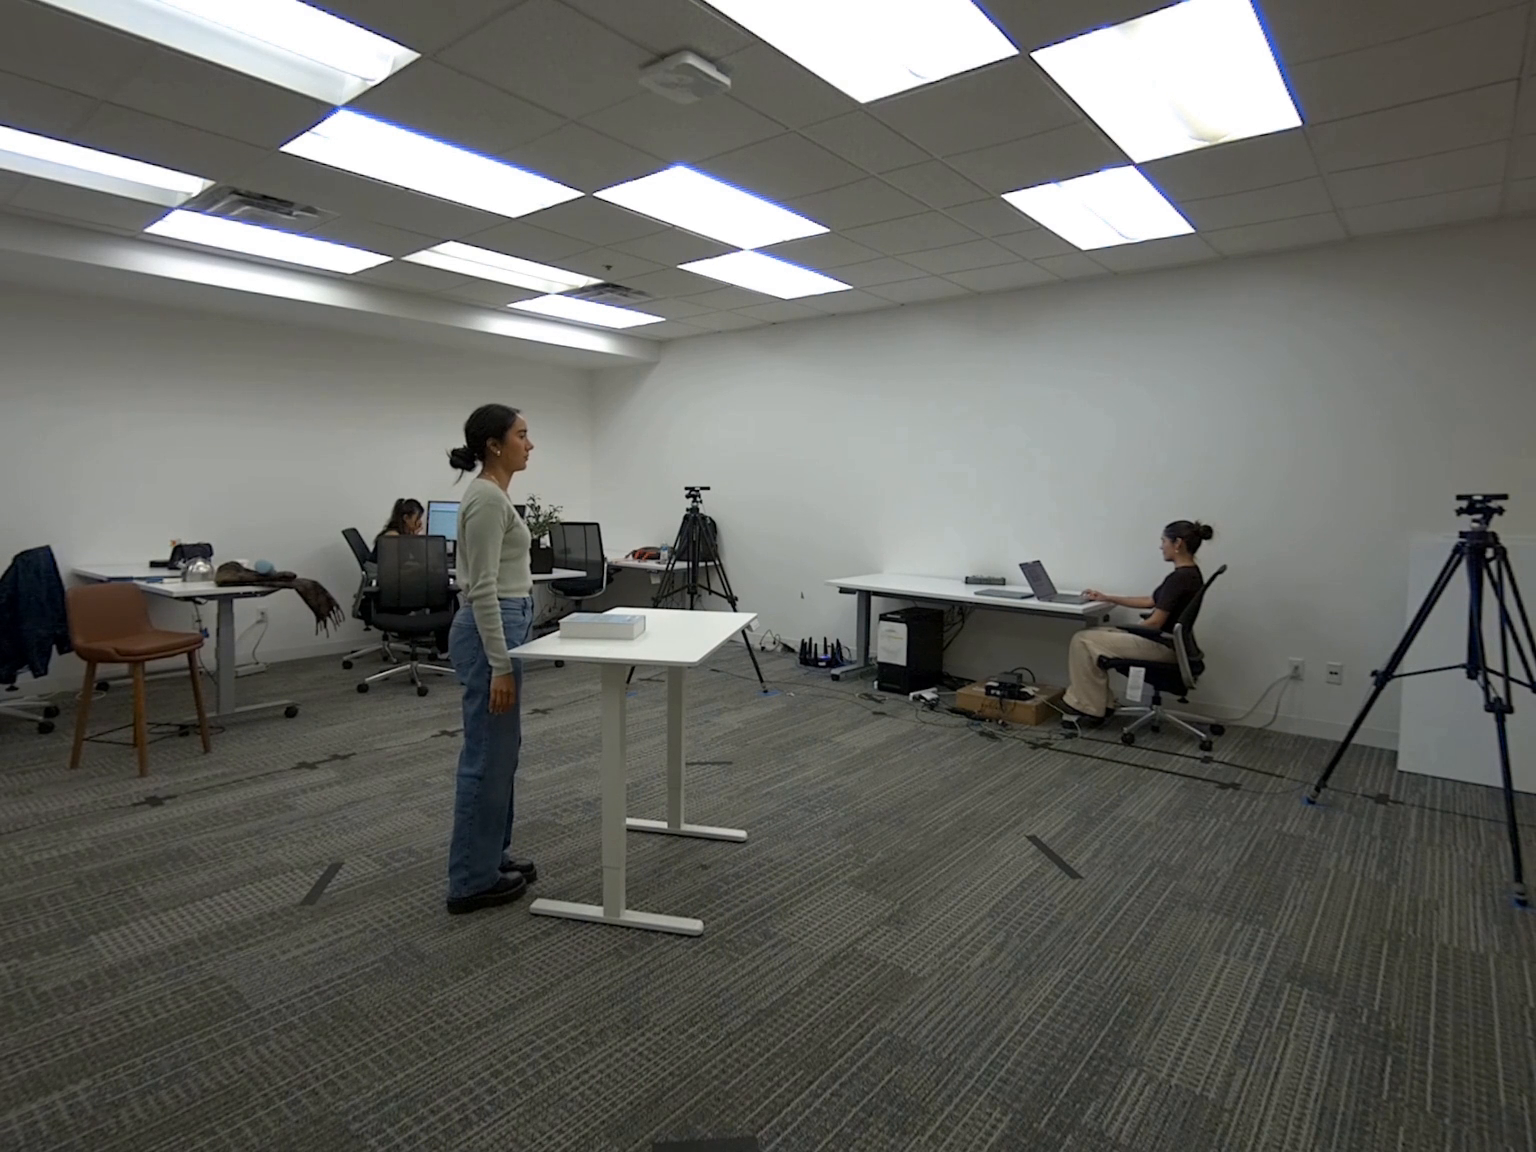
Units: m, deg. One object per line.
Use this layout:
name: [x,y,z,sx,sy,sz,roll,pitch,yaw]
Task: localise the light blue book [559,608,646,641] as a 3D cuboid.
light blue book: [-0.577,0.174,2.912,0.263,0.059,0.191,1,6,5]
